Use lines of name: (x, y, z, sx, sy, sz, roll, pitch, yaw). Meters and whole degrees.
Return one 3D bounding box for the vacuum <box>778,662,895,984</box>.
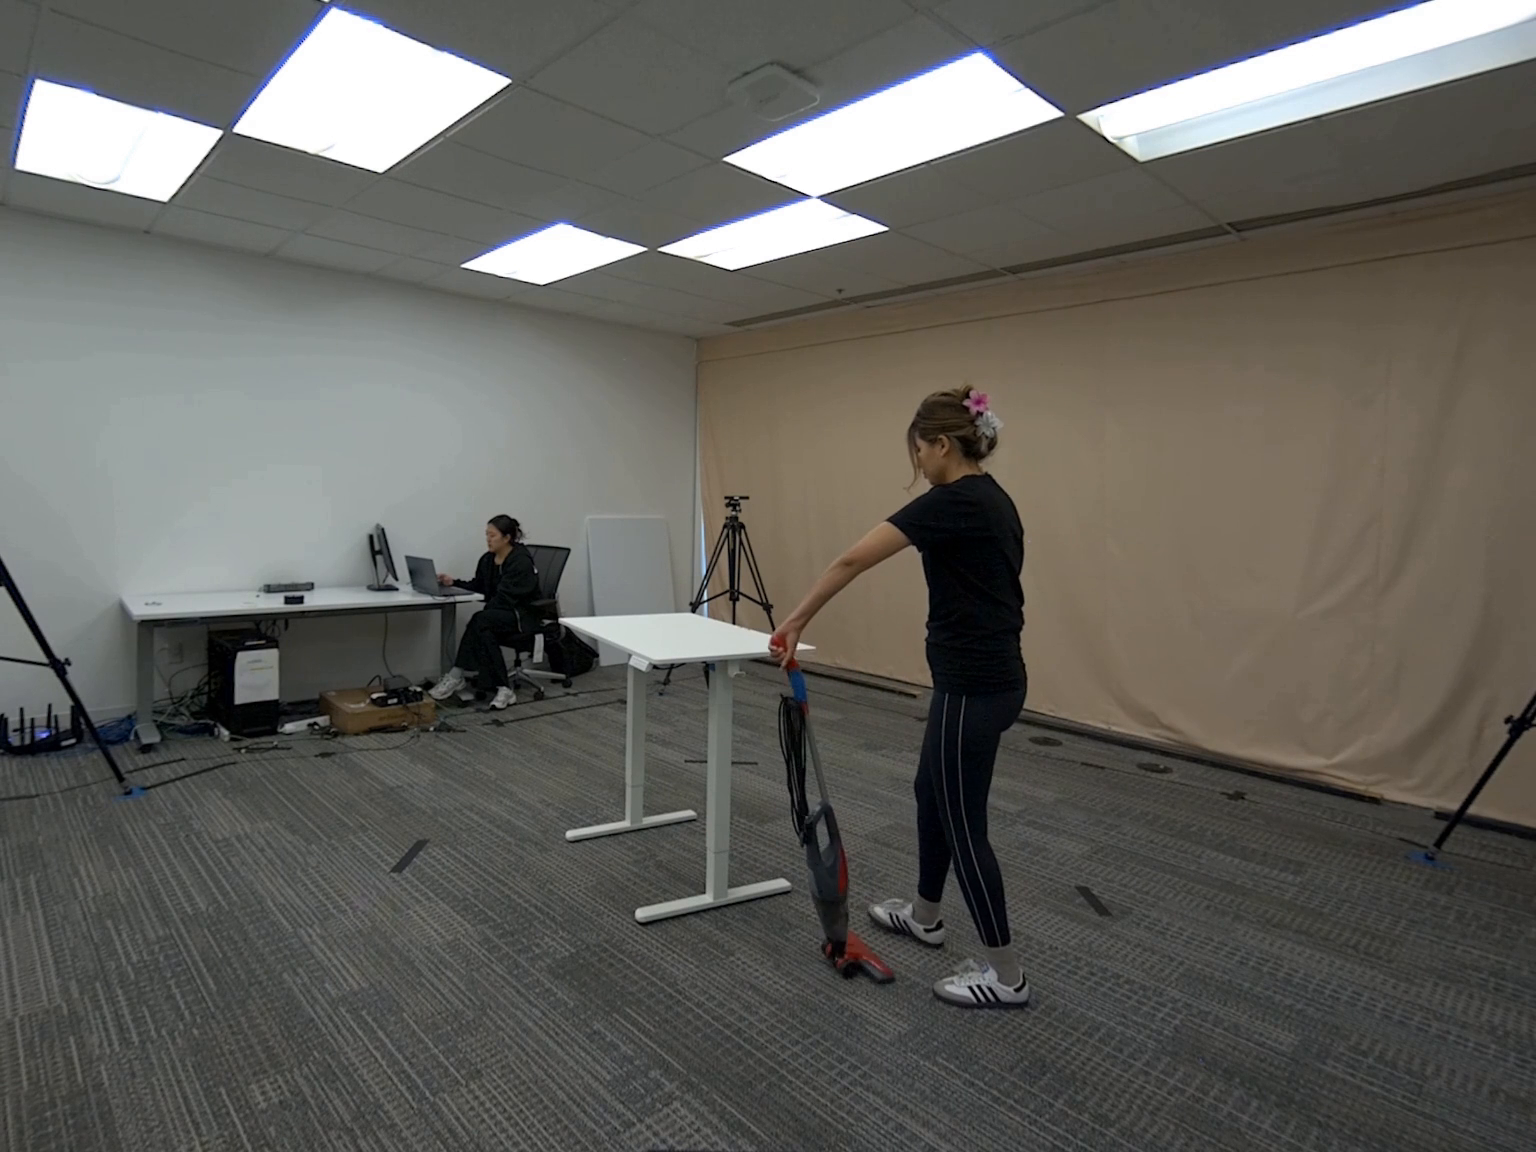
vacuum: (0.126, 0.680, 2.402, 0.142, 1.035, 0.259, -24, 18, -28)
